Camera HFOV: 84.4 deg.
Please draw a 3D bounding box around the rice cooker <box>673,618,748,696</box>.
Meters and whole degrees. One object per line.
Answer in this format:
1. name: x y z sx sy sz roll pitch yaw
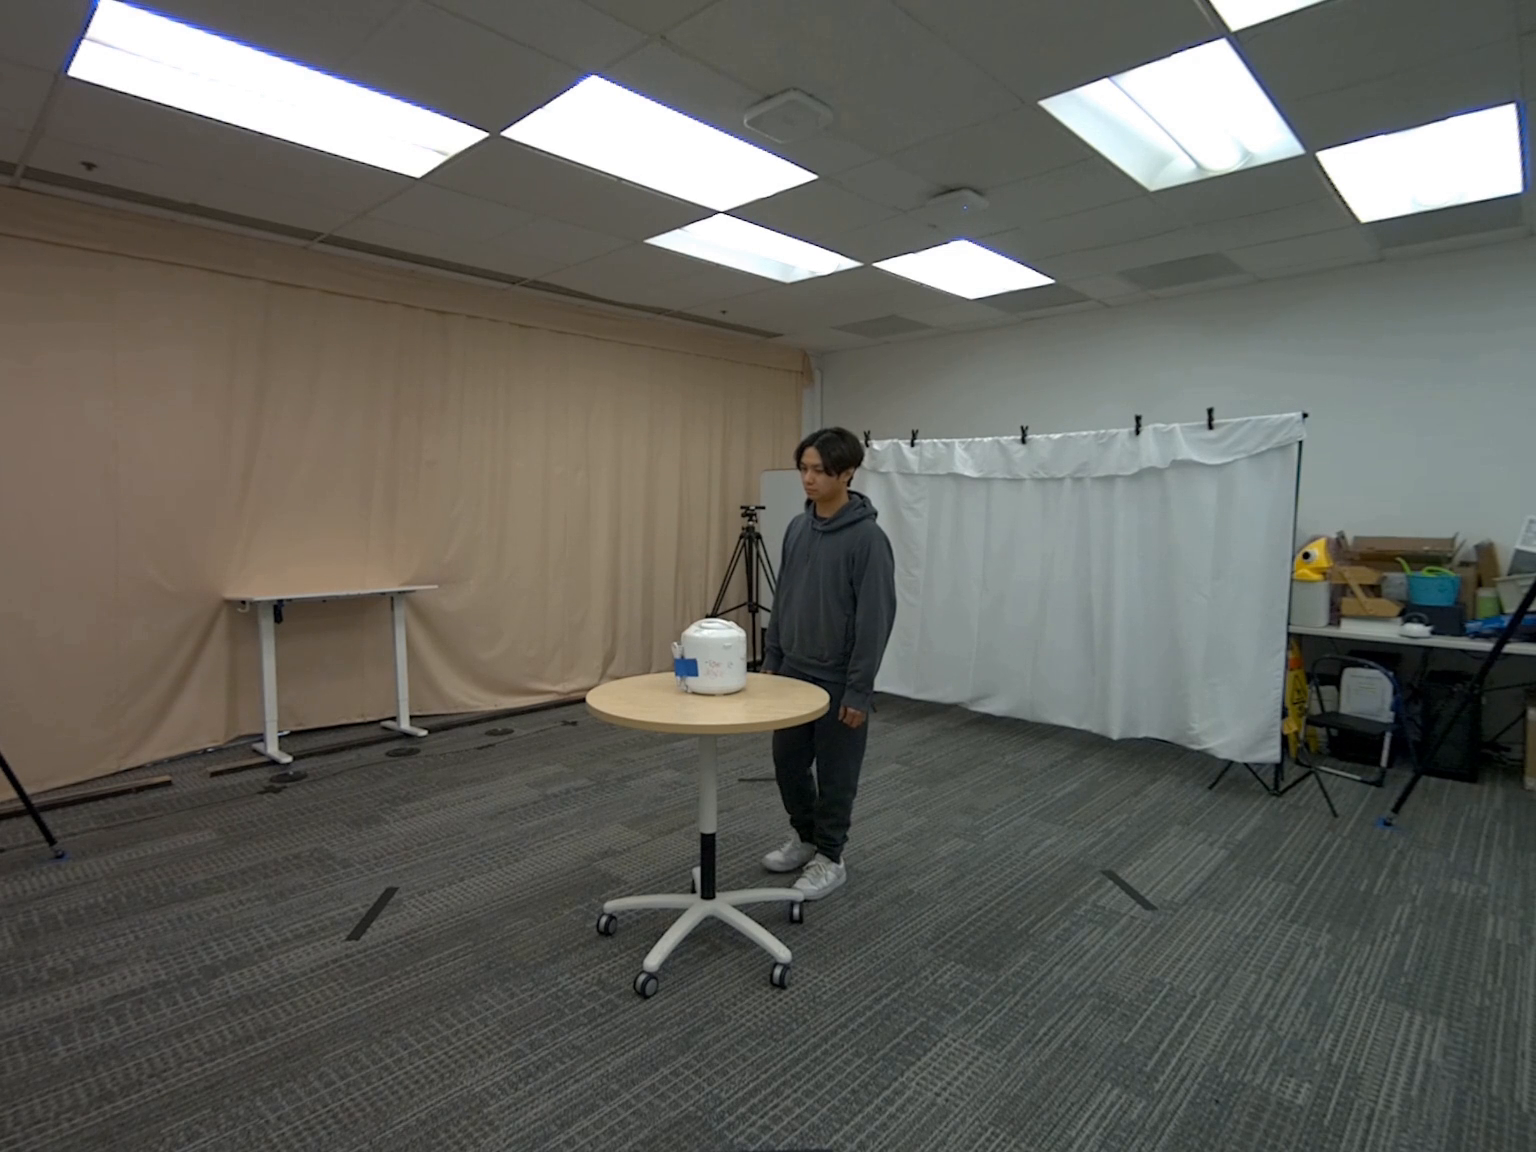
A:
1. rice cooker: -0.174 0.256 2.721 0.226 0.232 0.212 2 4 26
